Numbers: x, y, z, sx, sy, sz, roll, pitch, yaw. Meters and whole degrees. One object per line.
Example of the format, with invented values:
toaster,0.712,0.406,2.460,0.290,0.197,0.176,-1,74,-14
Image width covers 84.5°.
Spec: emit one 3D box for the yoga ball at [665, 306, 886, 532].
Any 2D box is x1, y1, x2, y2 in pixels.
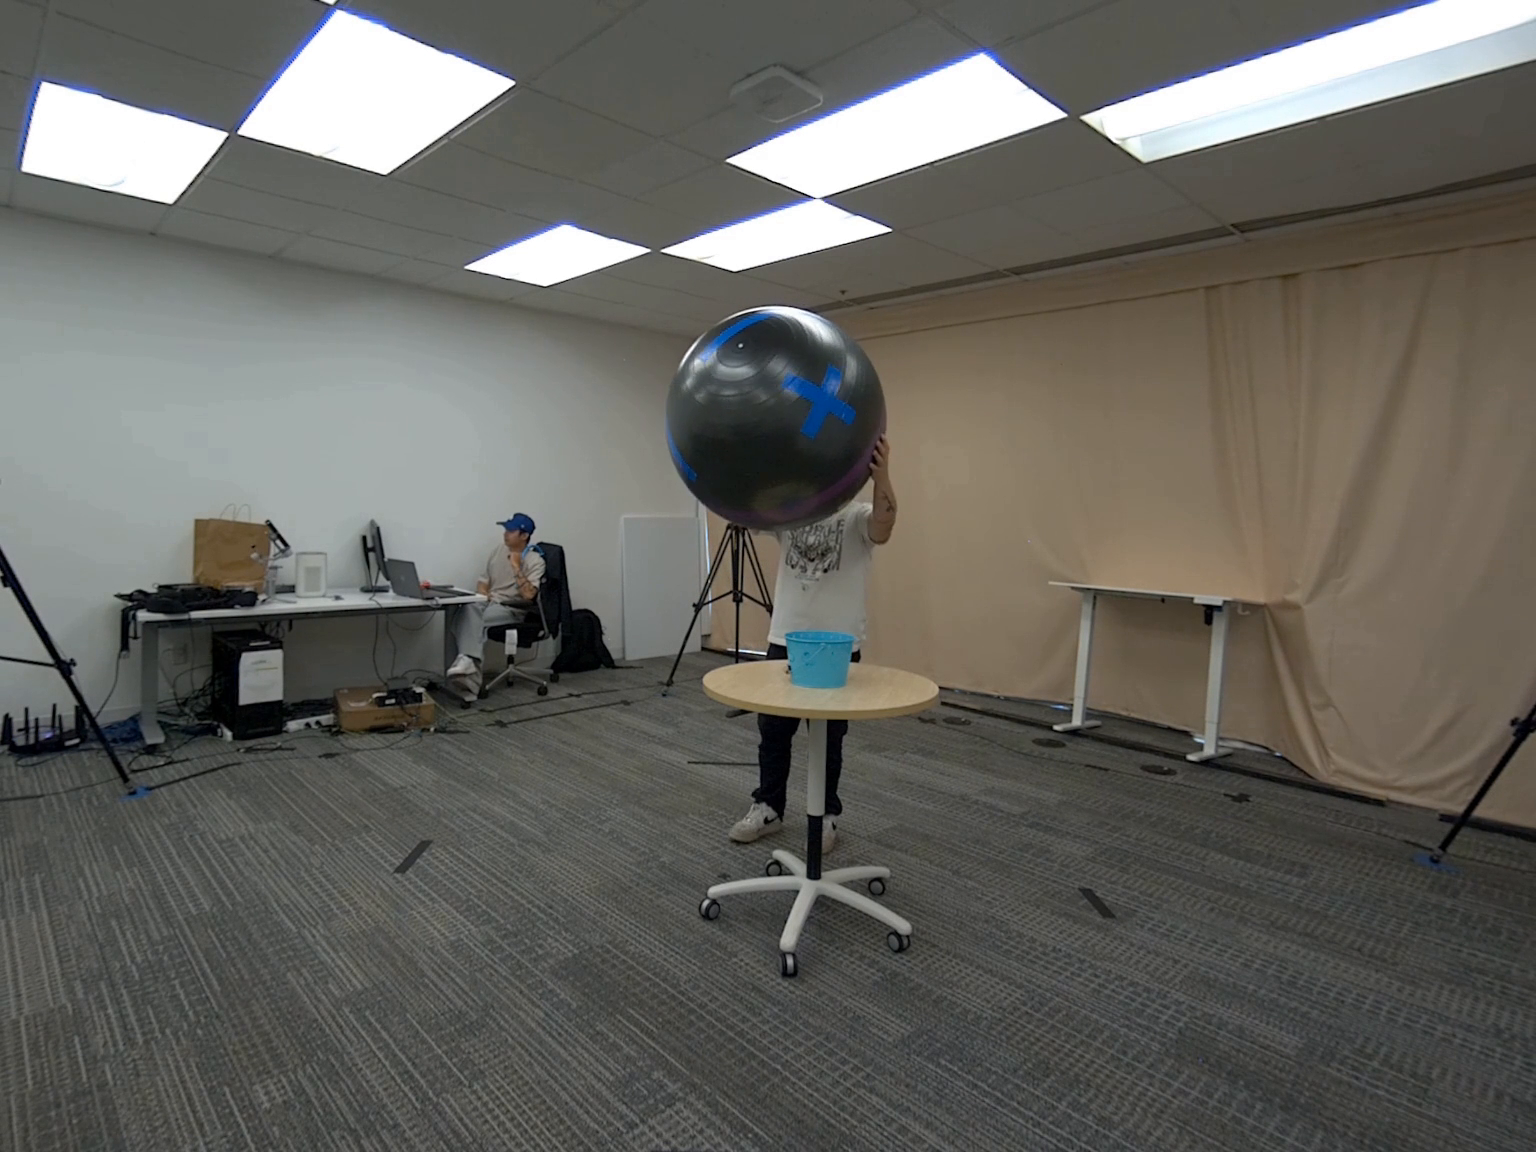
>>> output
yoga ball,0.020,-0.528,2.898,0.757,0.756,0.760,1,4,-1
